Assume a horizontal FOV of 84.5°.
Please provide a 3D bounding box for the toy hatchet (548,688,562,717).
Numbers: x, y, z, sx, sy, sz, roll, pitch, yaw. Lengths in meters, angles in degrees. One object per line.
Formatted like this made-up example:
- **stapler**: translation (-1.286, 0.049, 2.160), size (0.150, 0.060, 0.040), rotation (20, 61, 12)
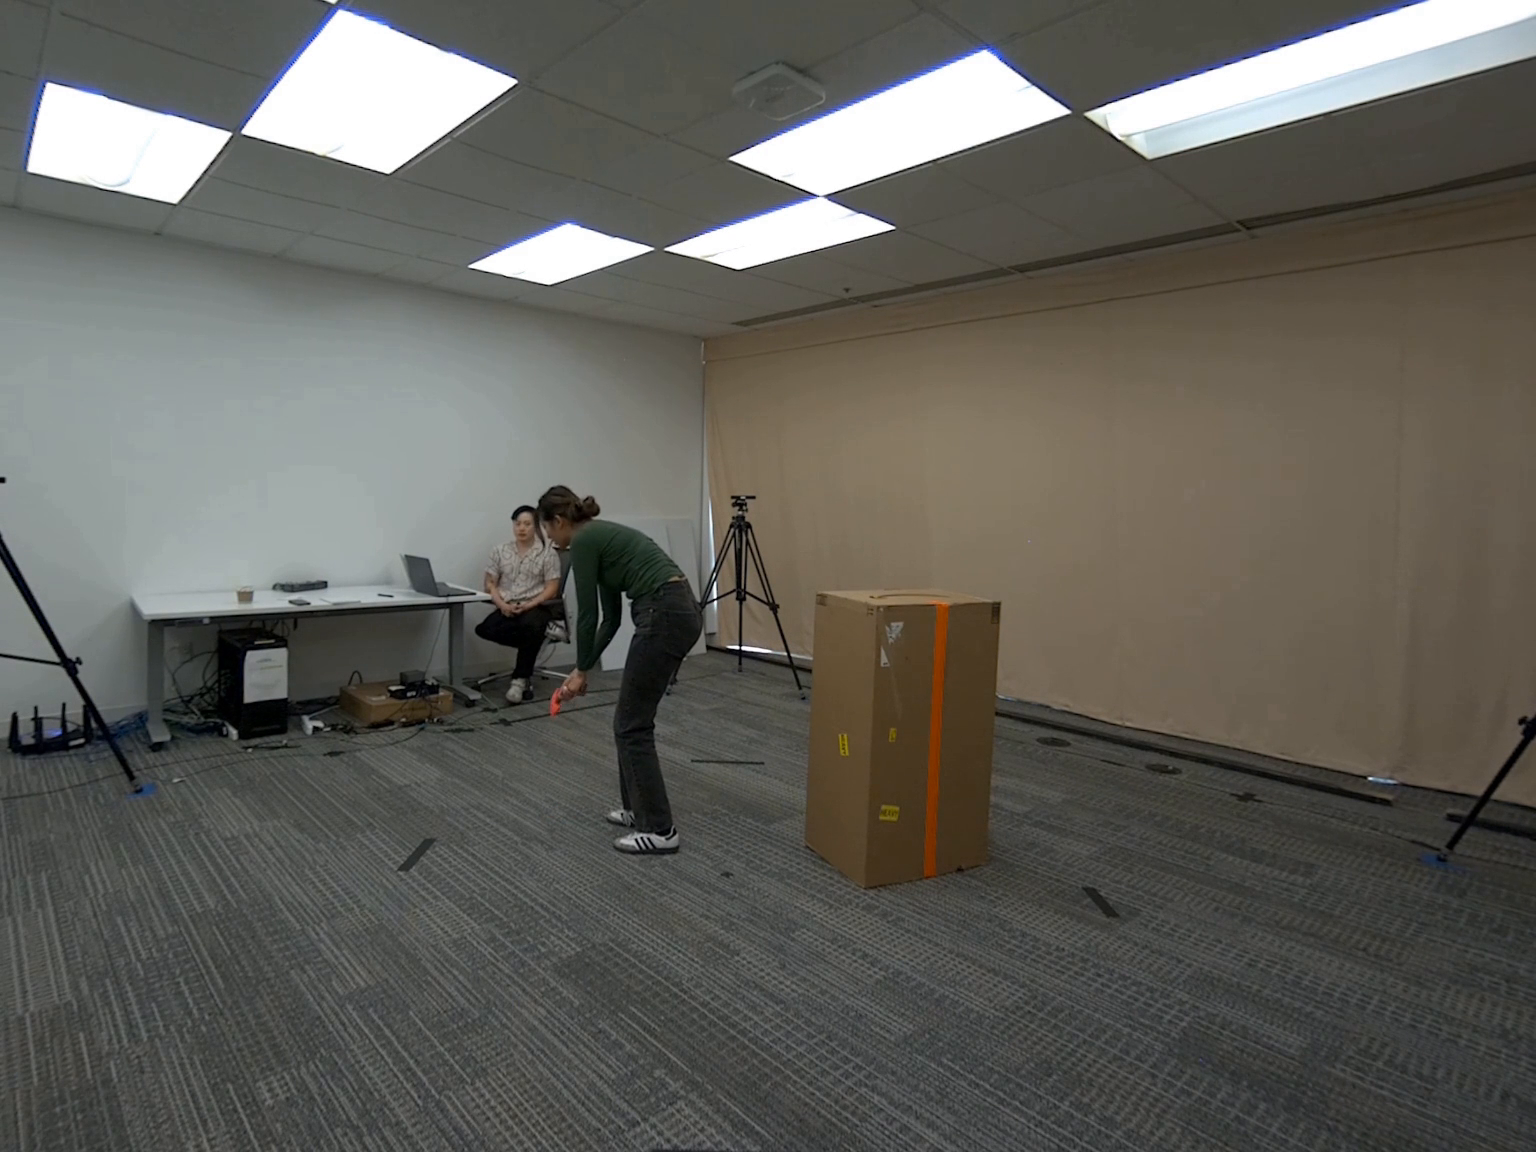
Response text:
- **toy hatchet**: translation (-0.841, 0.515, 3.501), size (0.029, 0.132, 0.275), rotation (36, -30, -30)
